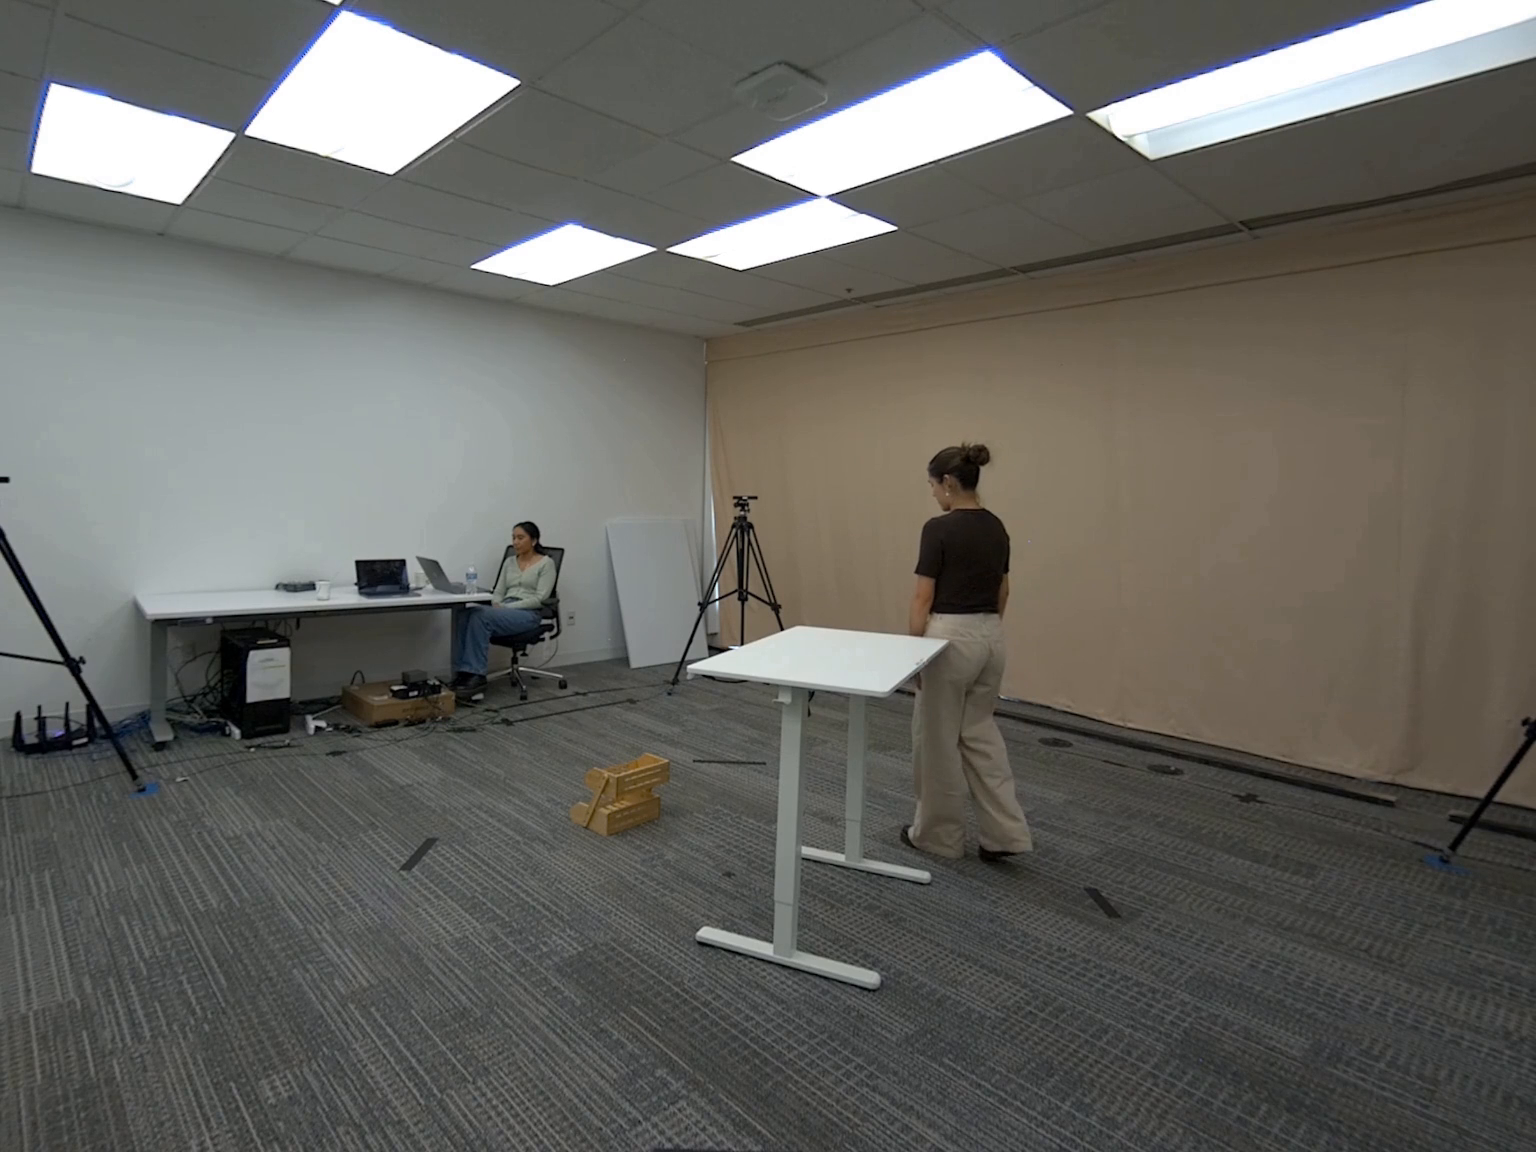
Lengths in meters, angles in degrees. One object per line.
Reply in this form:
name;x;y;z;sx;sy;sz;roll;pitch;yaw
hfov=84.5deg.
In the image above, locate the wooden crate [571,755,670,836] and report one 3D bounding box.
wooden crate;-0.638;0.908;3.599;0.310;0.272;0.317;6;6;40
